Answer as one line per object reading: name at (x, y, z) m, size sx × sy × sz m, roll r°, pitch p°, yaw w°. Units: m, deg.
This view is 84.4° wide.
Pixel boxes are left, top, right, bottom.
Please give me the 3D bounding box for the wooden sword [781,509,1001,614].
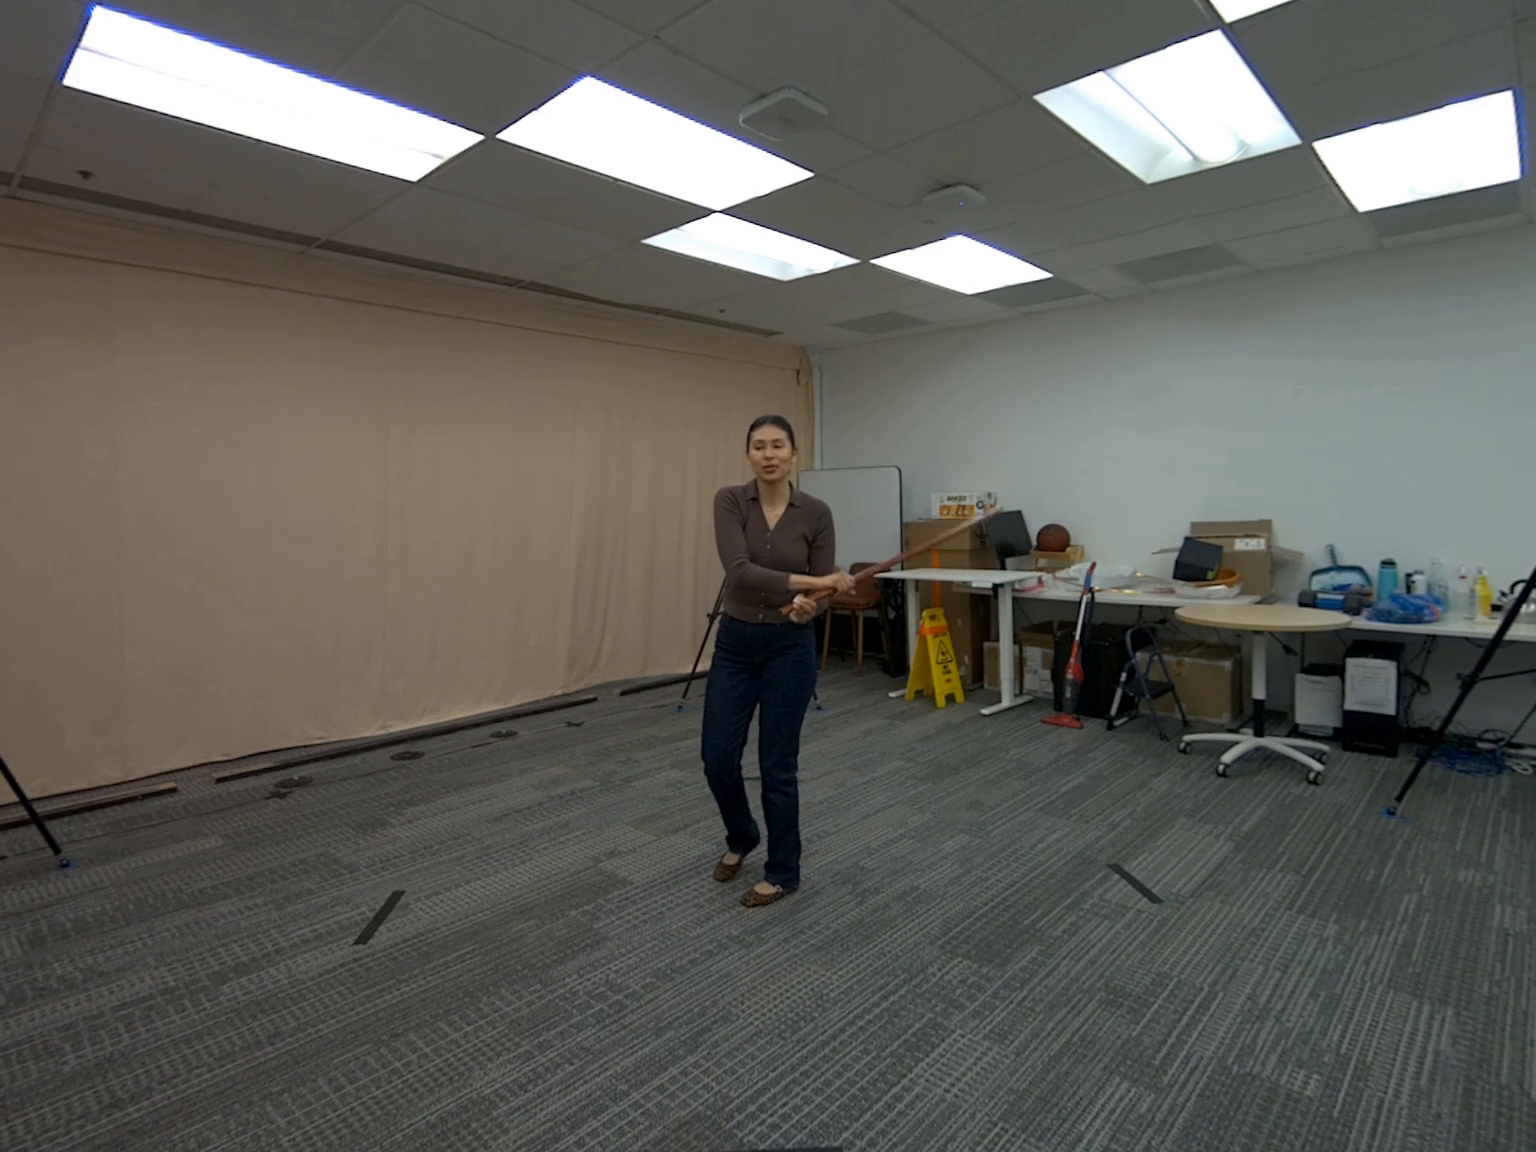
wooden sword at (0.453, -0.048, 2.806) m, size 1.007 × 0.052 × 0.024 m, roll -26°, pitch -27°, yaw -28°
